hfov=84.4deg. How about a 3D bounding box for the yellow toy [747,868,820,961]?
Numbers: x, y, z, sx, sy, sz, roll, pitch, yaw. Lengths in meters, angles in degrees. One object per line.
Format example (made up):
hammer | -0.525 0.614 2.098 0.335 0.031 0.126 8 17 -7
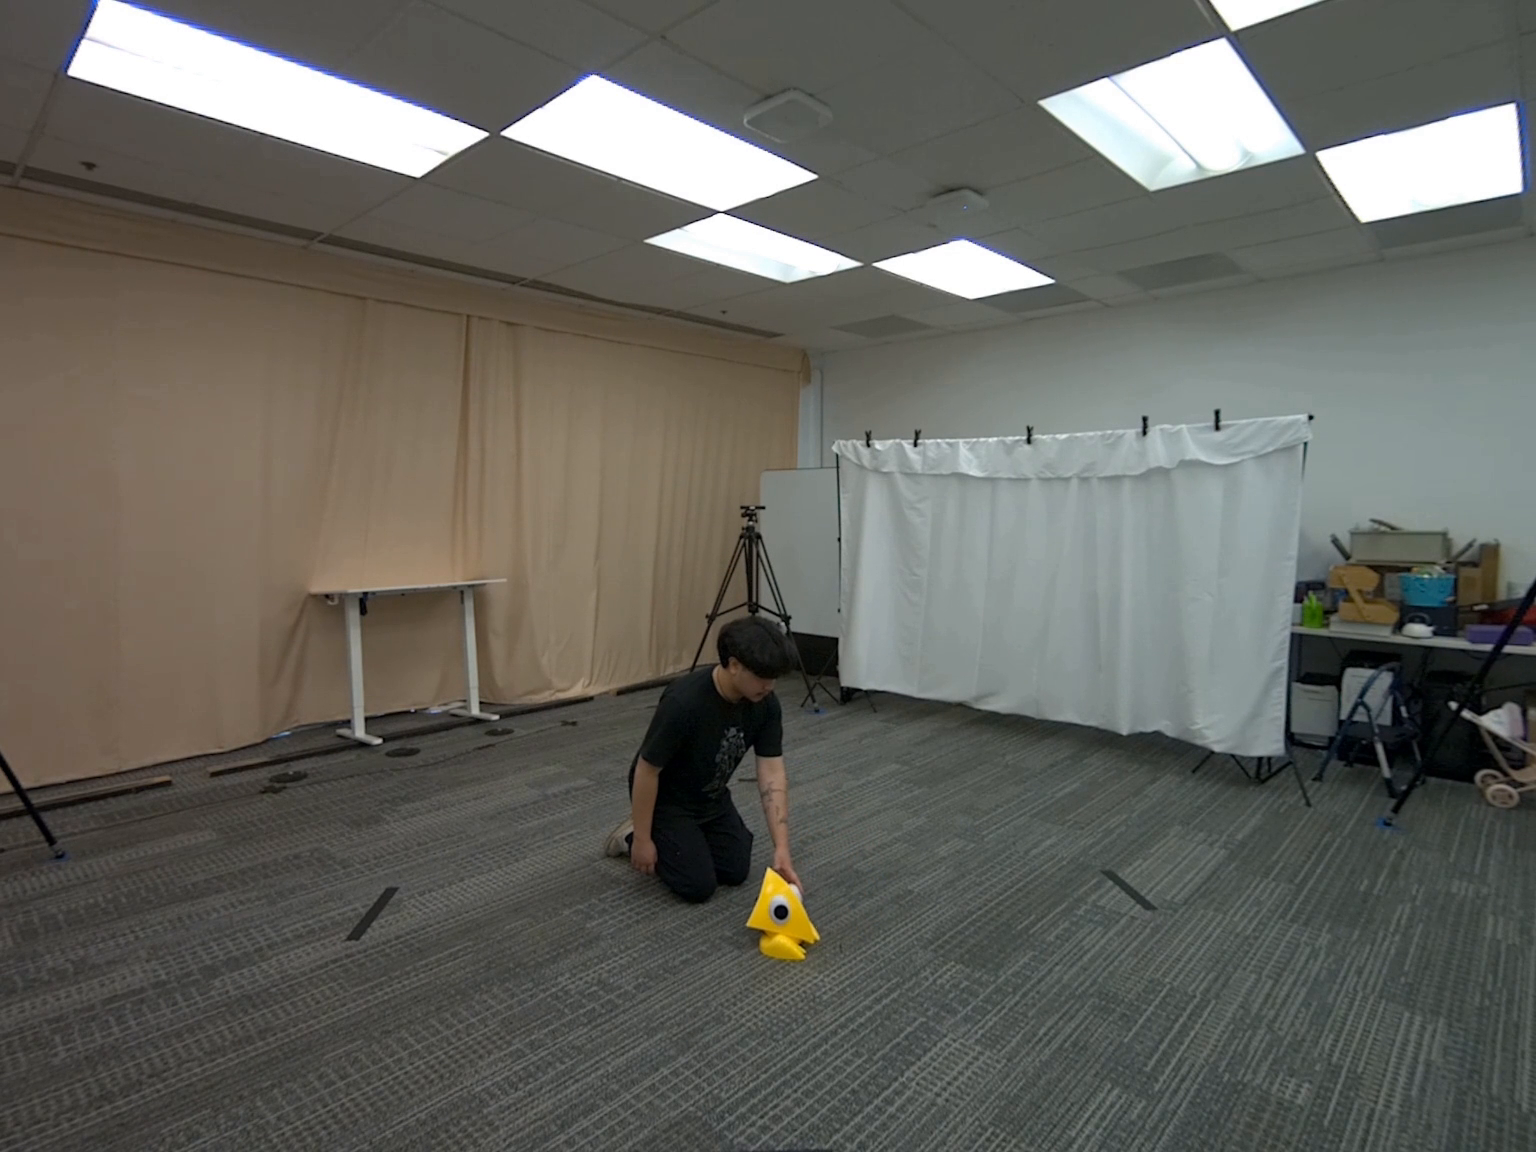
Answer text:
yellow toy | 0.059 1.058 2.676 0.198 0.230 0.200 2 5 28
